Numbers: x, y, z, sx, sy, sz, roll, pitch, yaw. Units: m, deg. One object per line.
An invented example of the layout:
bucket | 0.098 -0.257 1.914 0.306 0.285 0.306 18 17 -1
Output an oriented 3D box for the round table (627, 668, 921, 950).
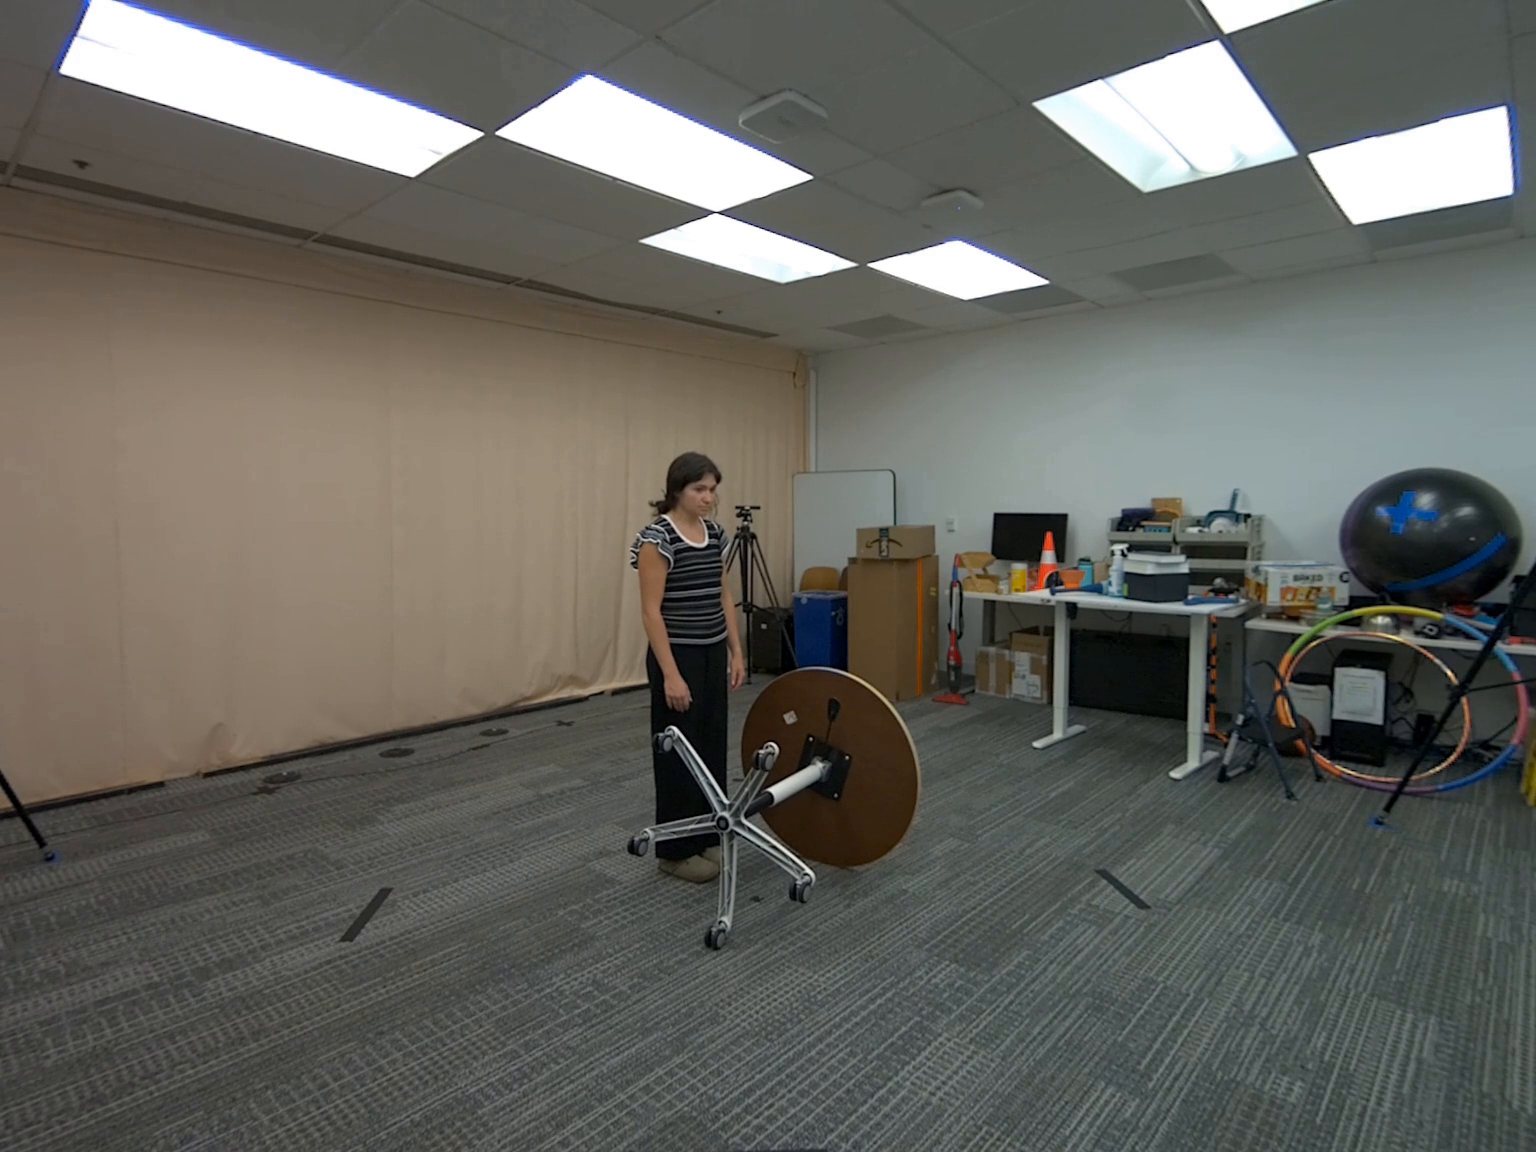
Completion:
round table | 0.029 0.775 2.945 0.787 0.761 0.772 2 6 33
